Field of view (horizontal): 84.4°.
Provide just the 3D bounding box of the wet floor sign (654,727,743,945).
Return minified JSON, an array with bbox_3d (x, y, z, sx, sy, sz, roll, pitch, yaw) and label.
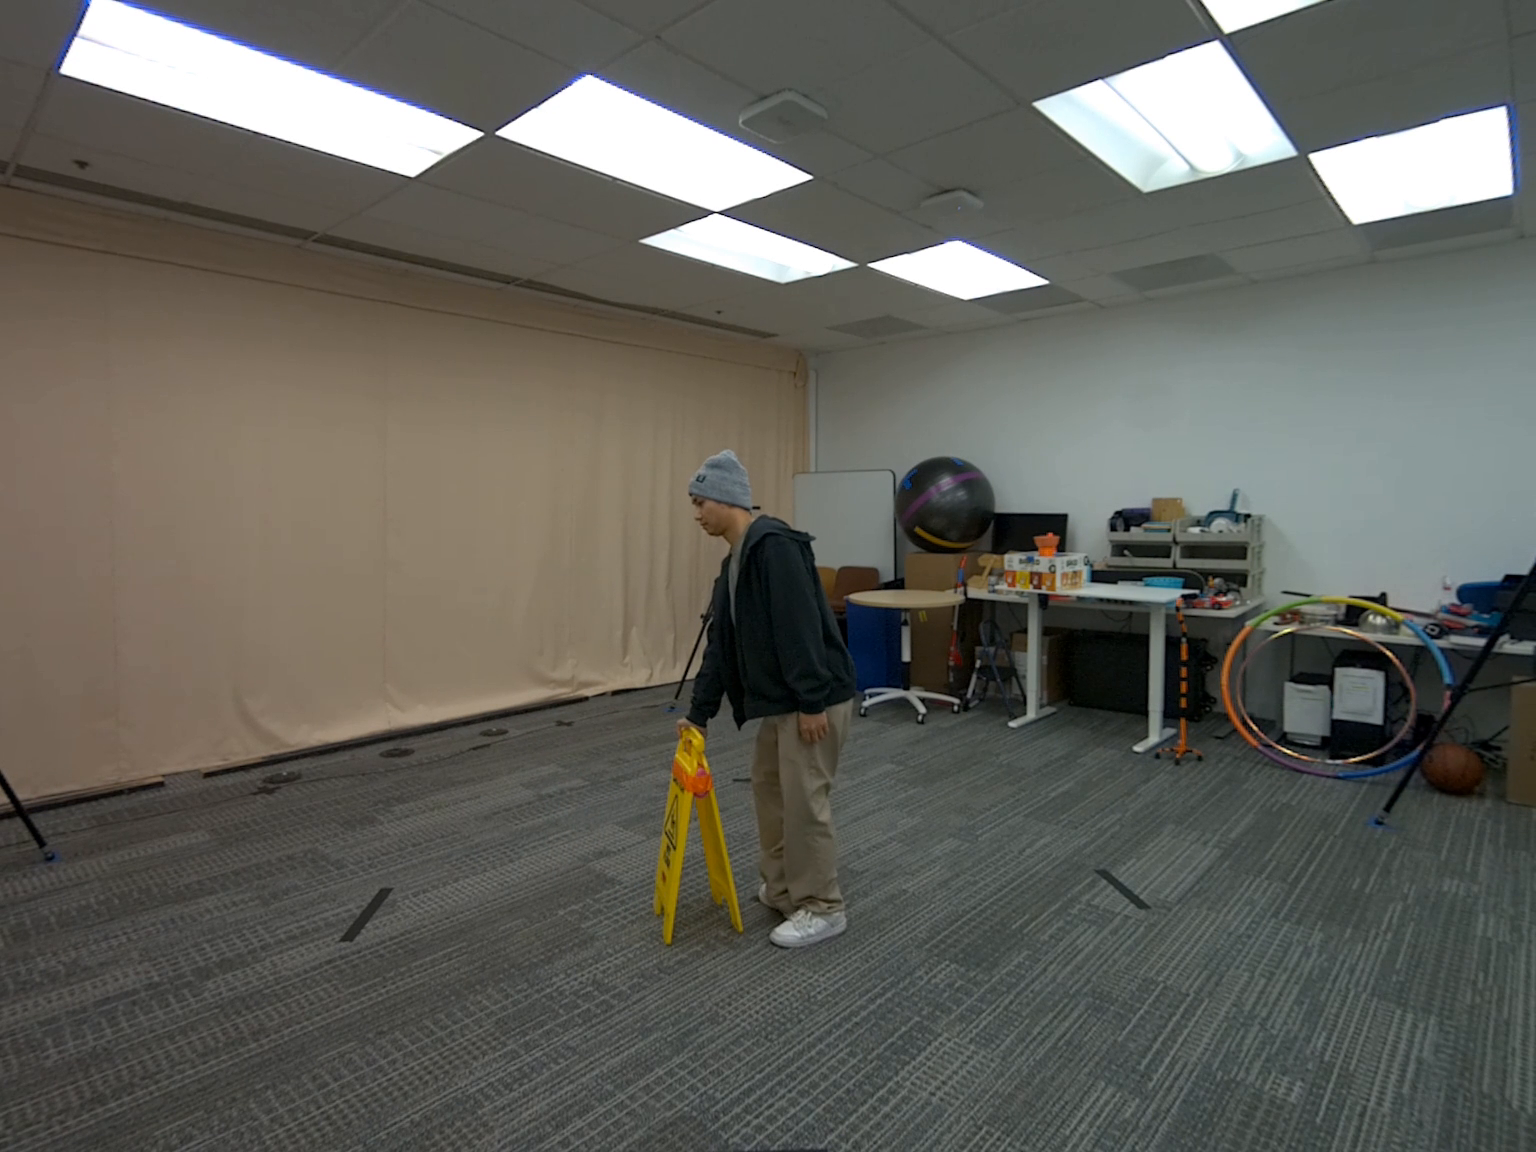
[{"bbox_3d":[-0.250,0.833,2.816,0.285,0.645,0.288,-3,3,-18],"label":"wet floor sign"}]
